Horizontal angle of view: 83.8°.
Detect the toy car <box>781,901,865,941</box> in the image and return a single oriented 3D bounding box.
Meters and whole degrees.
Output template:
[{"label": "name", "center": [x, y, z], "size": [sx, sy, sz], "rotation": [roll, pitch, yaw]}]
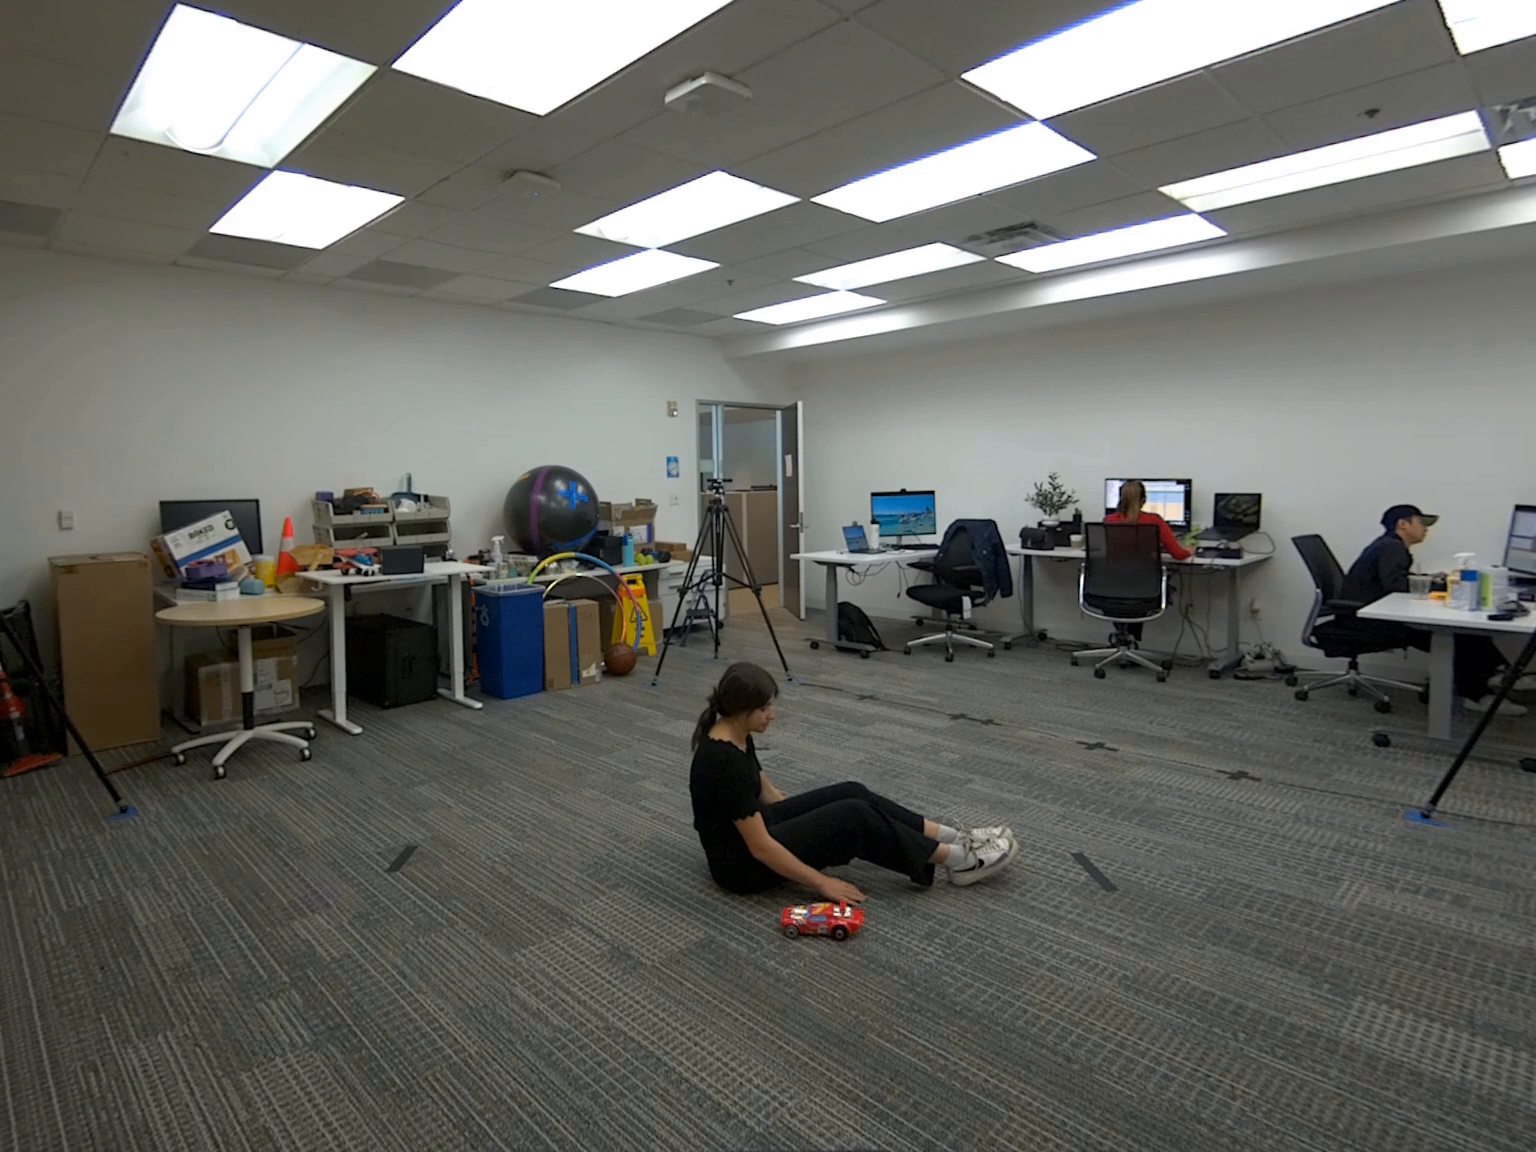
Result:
[{"label": "toy car", "center": [0.181, 1.068, 2.634], "size": [0.256, 0.083, 0.130], "rotation": [-12, 4, 9]}]
